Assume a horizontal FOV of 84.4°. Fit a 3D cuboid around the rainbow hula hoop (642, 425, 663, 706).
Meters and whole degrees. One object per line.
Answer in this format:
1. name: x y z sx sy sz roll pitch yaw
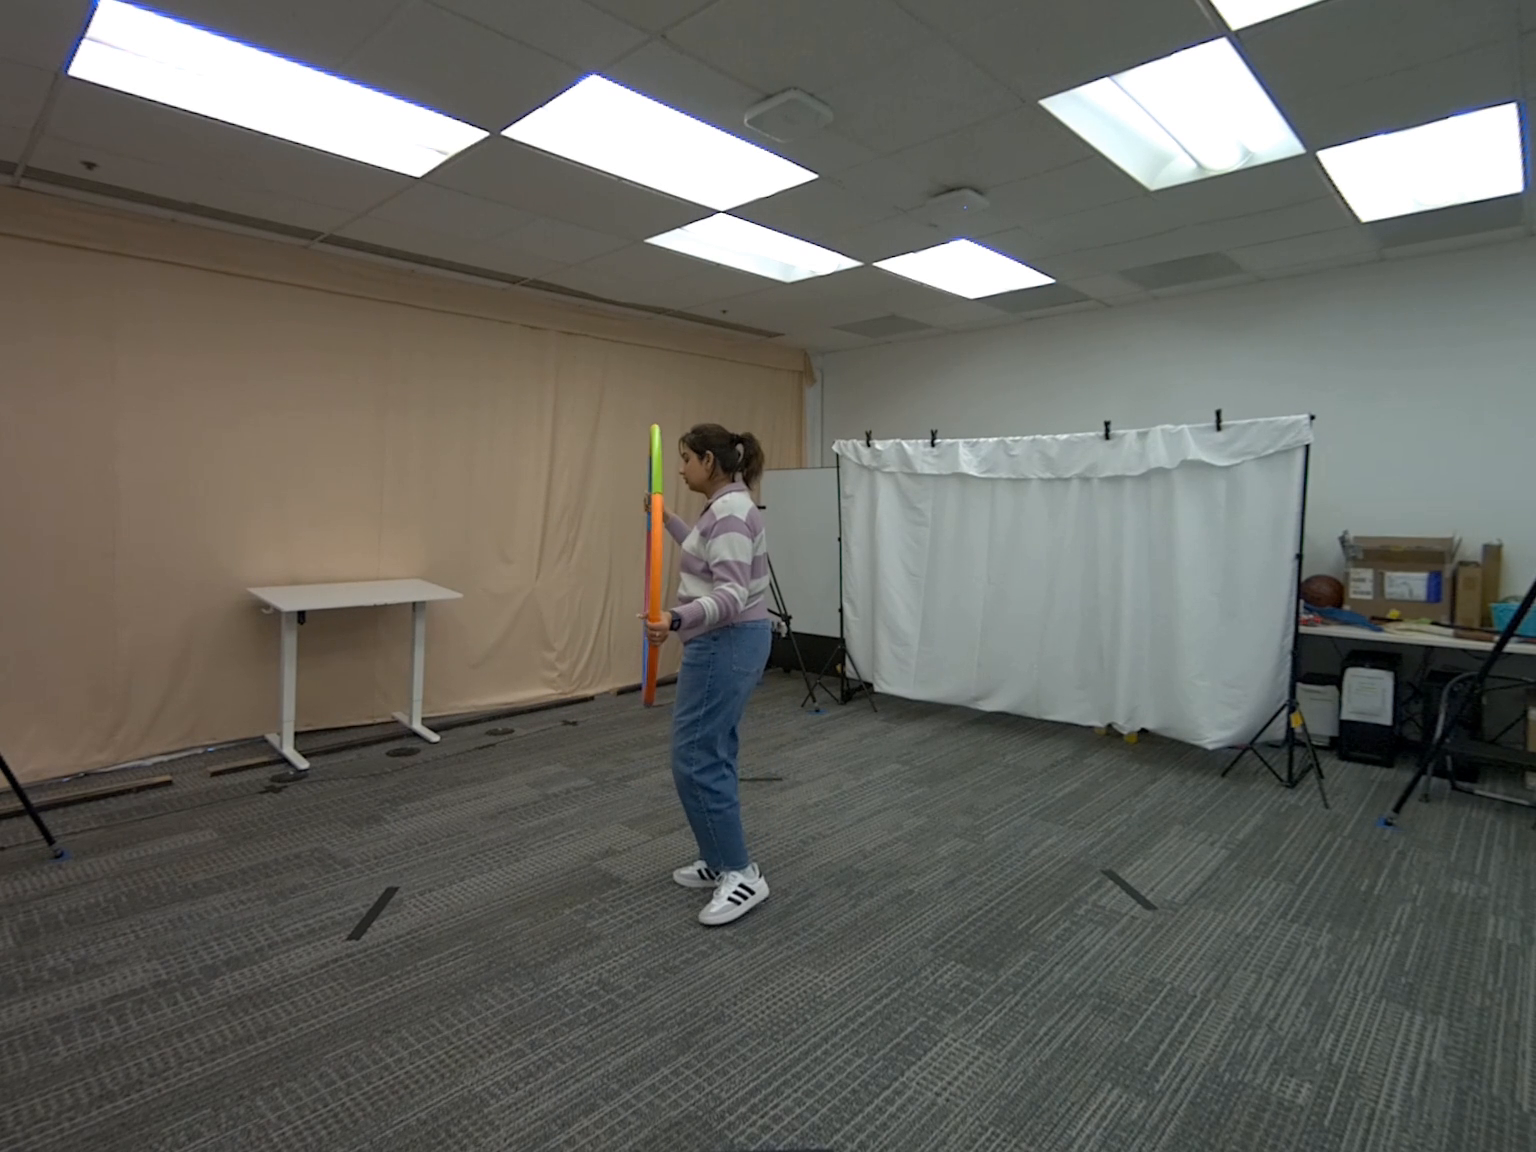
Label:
1. rainbow hula hoop: -0.409 -0.043 2.964 0.035 0.977 0.987 4 3 -8
